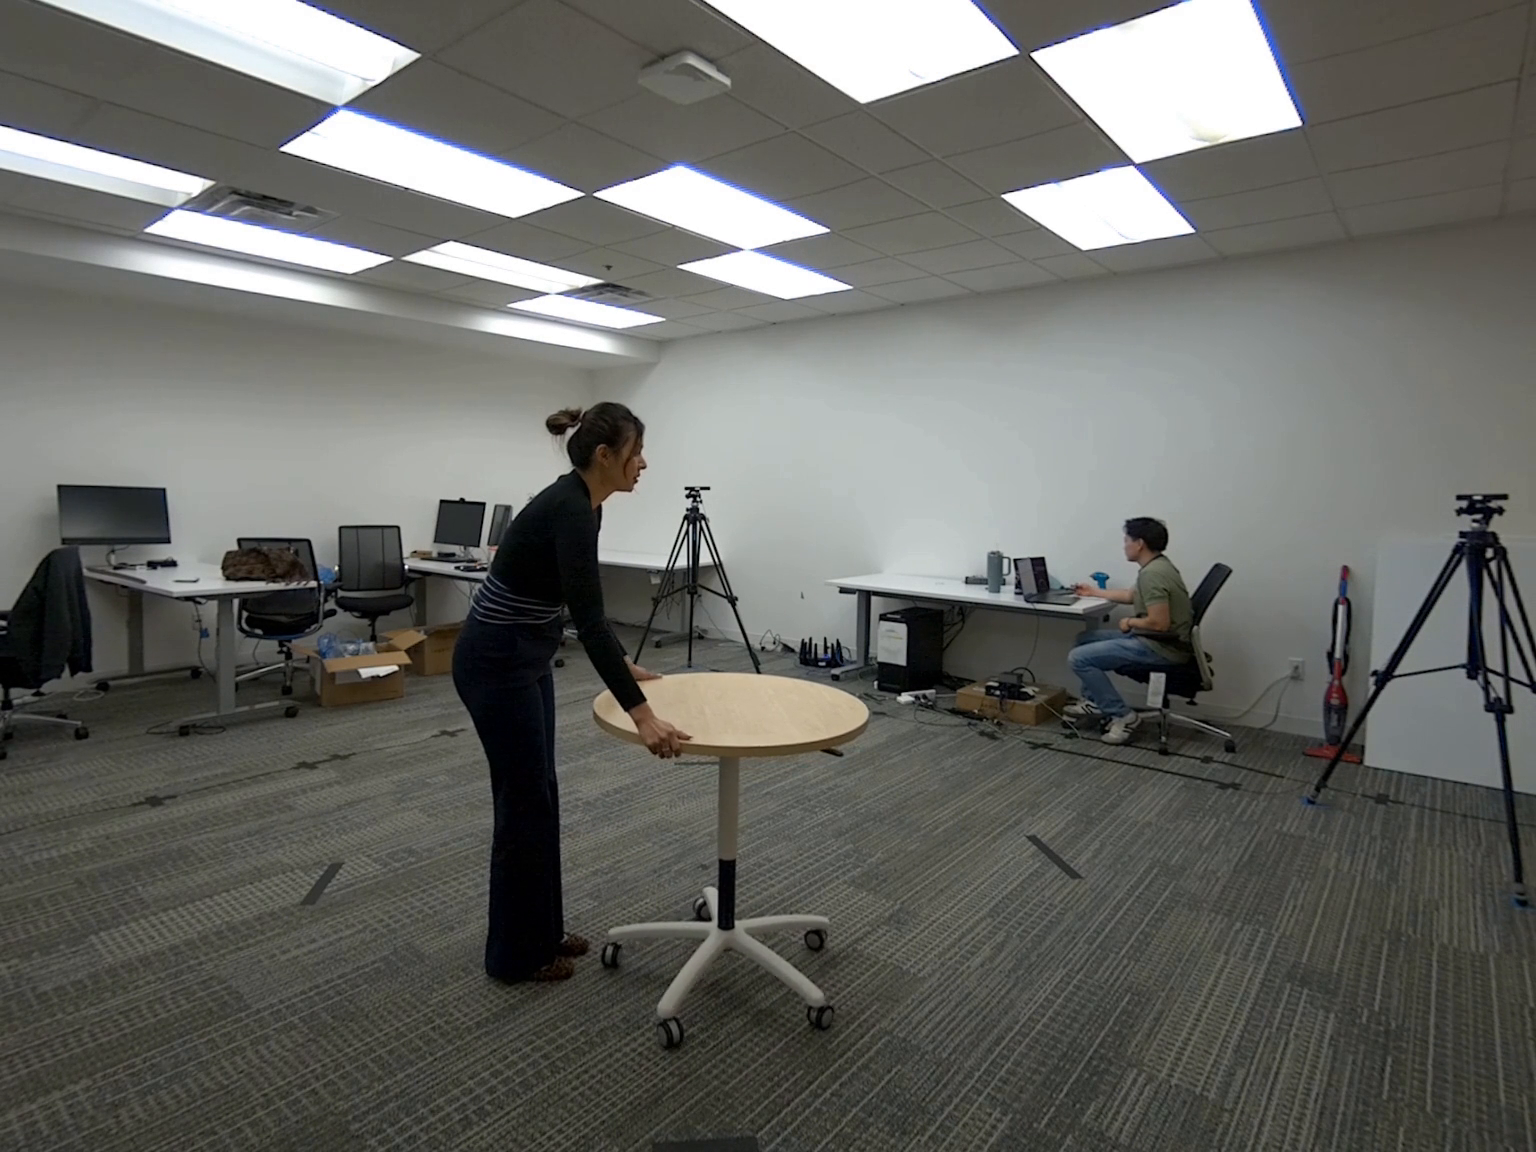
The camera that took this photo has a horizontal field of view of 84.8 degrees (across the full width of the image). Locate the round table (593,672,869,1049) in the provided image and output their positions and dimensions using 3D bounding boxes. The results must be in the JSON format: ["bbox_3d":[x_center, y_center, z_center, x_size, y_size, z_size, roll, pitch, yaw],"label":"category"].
[{"bbox_3d":[-0.124,0.749,2.414,0.763,0.791,0.768,1,5,-2],"label":"round table"}]
